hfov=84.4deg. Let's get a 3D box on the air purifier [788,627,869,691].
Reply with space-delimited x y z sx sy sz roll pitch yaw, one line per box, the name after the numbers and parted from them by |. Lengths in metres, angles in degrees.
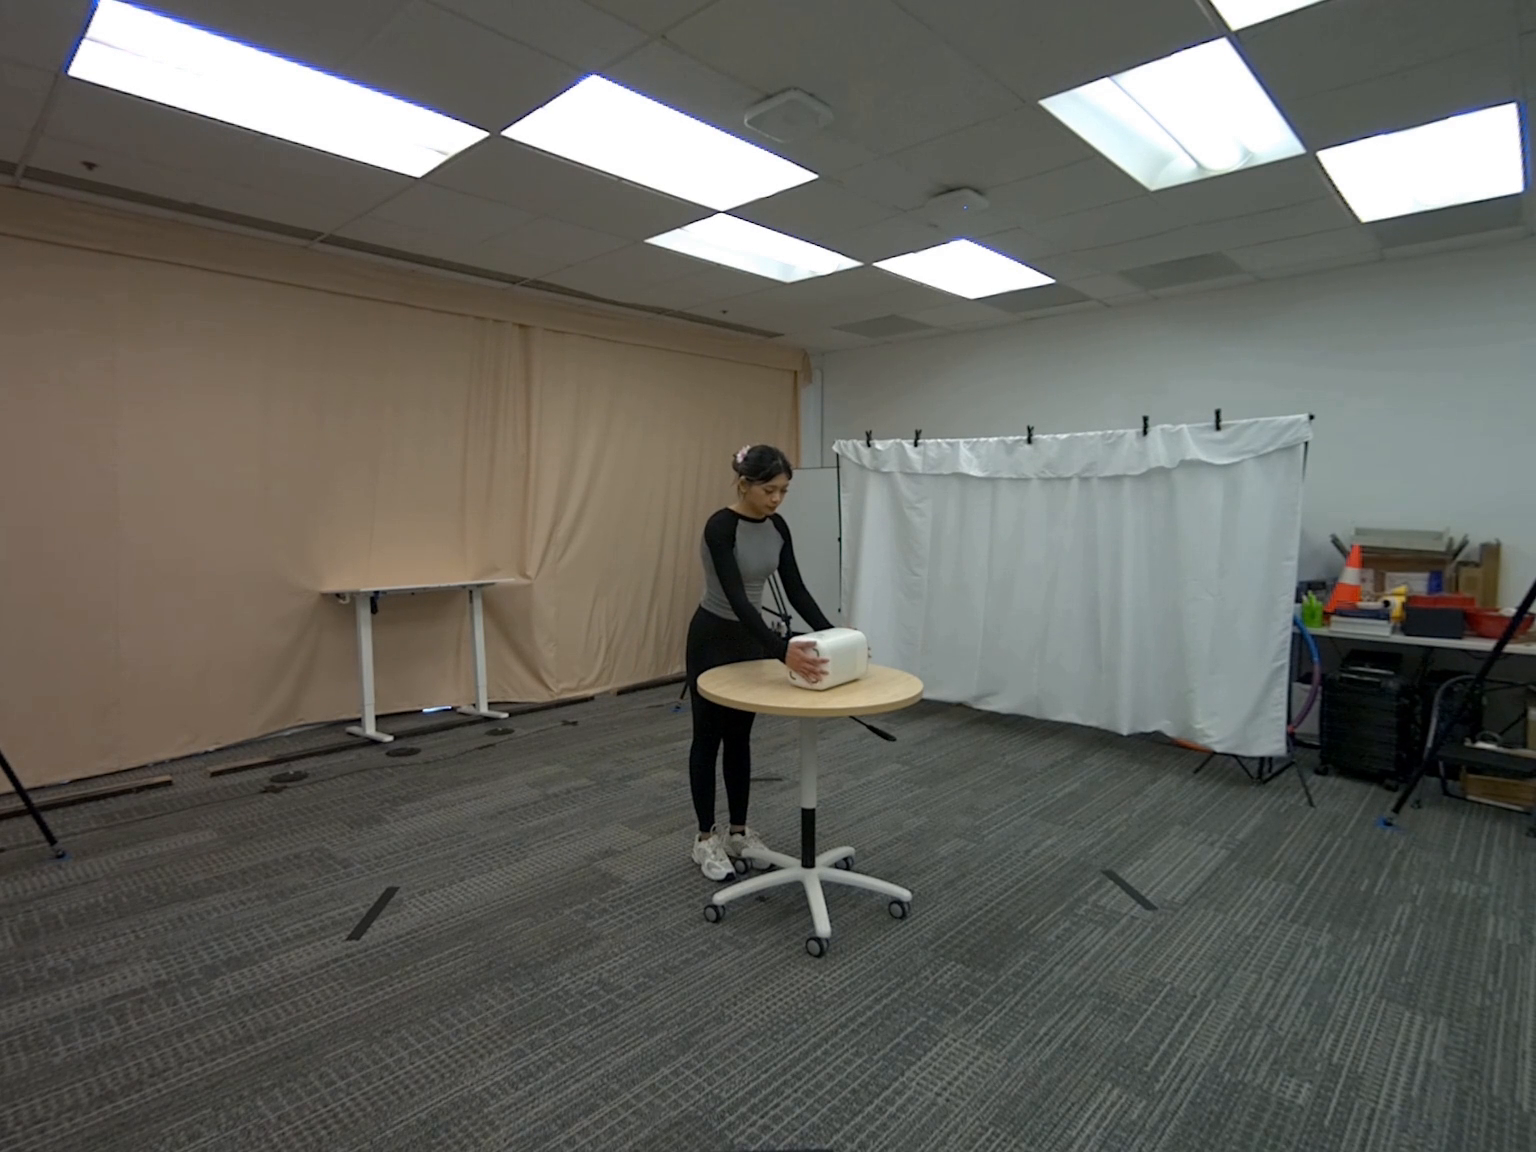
0.201 0.275 2.832 0.177 0.171 0.257 5 7 38 | air purifier
